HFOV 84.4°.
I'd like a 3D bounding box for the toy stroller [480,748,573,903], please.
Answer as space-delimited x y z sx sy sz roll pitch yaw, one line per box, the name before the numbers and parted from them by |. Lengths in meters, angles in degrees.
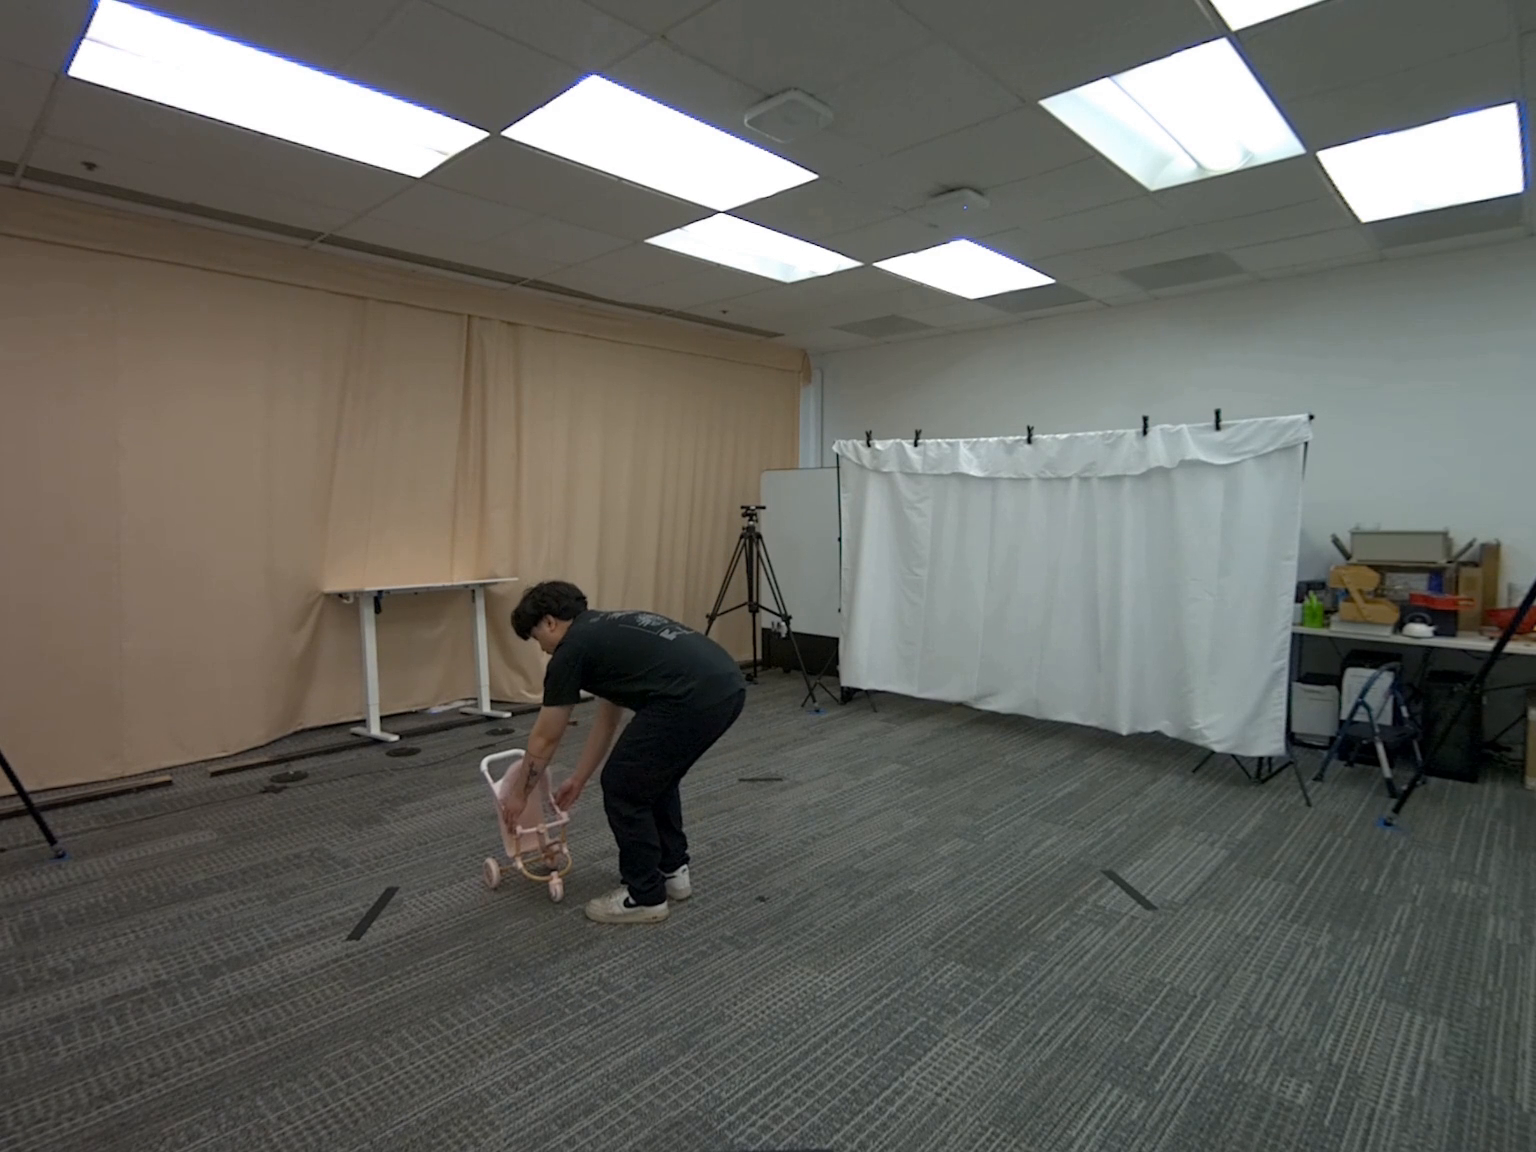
toy stroller | -0.882 0.912 3.104 0.273 0.539 0.349 -3 -11 -39
